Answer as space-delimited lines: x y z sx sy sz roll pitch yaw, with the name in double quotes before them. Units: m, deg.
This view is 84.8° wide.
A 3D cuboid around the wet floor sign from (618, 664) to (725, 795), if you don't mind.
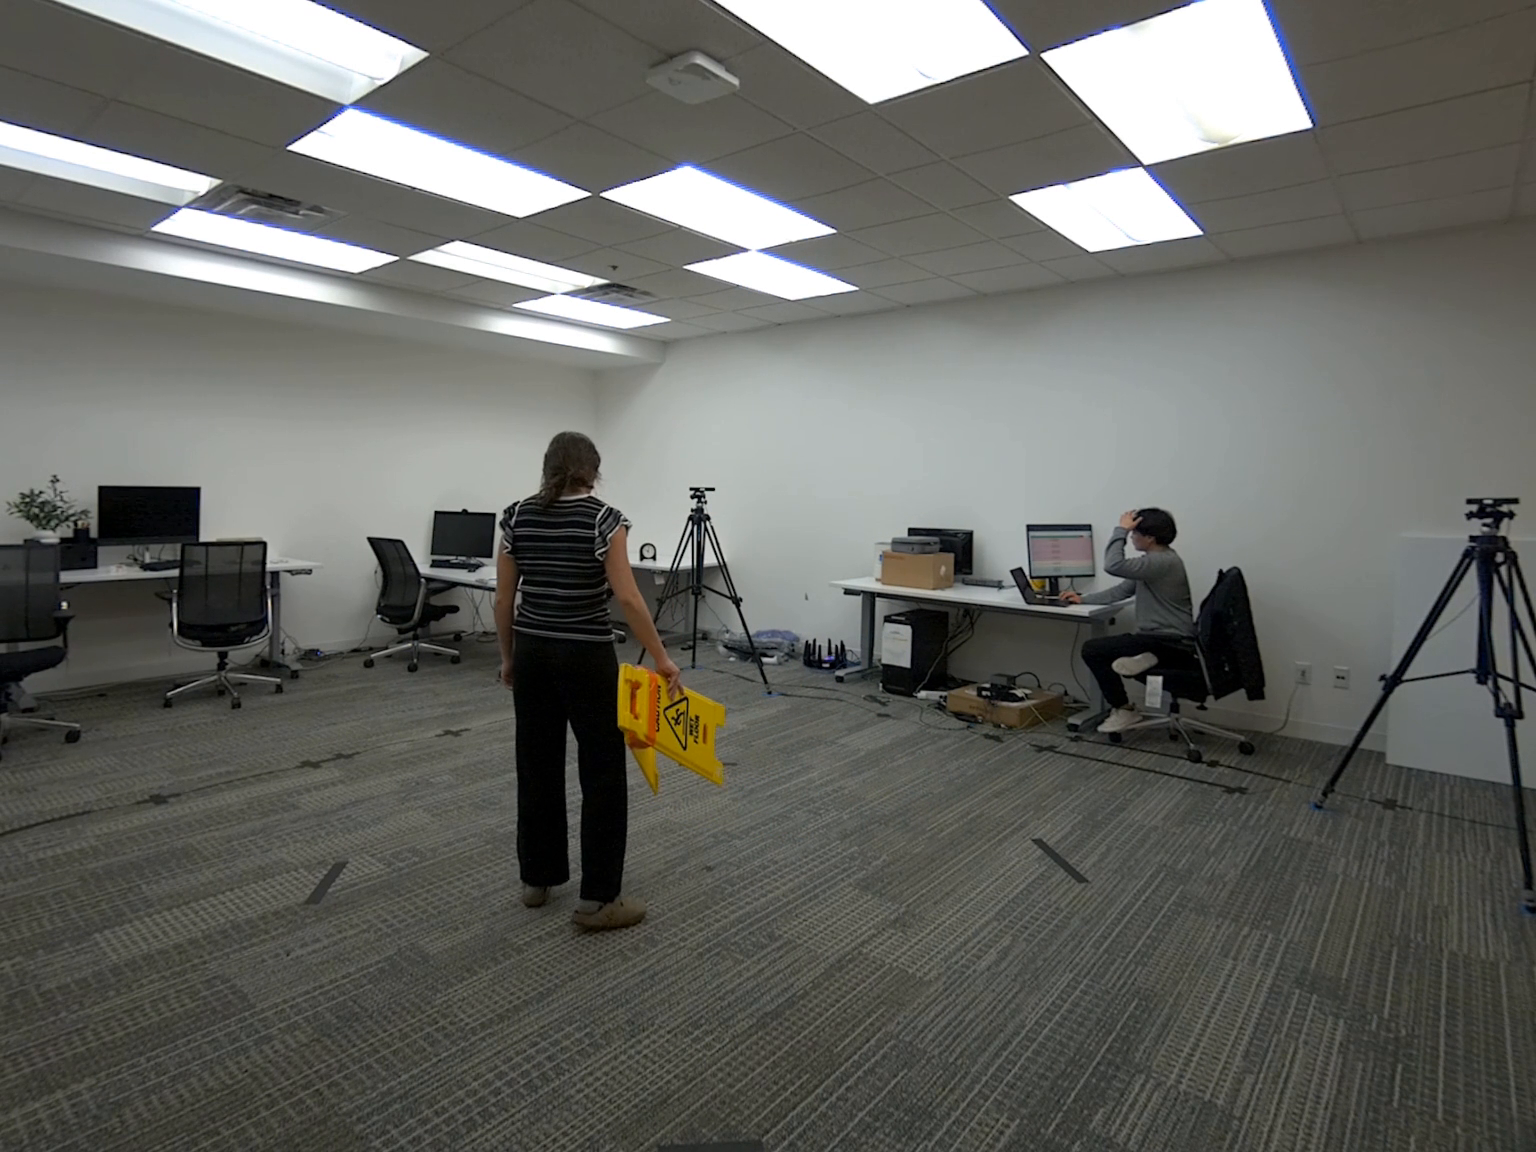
"wet floor sign" -0.364 0.485 2.760 0.293 0.289 0.623 -7 -28 11
